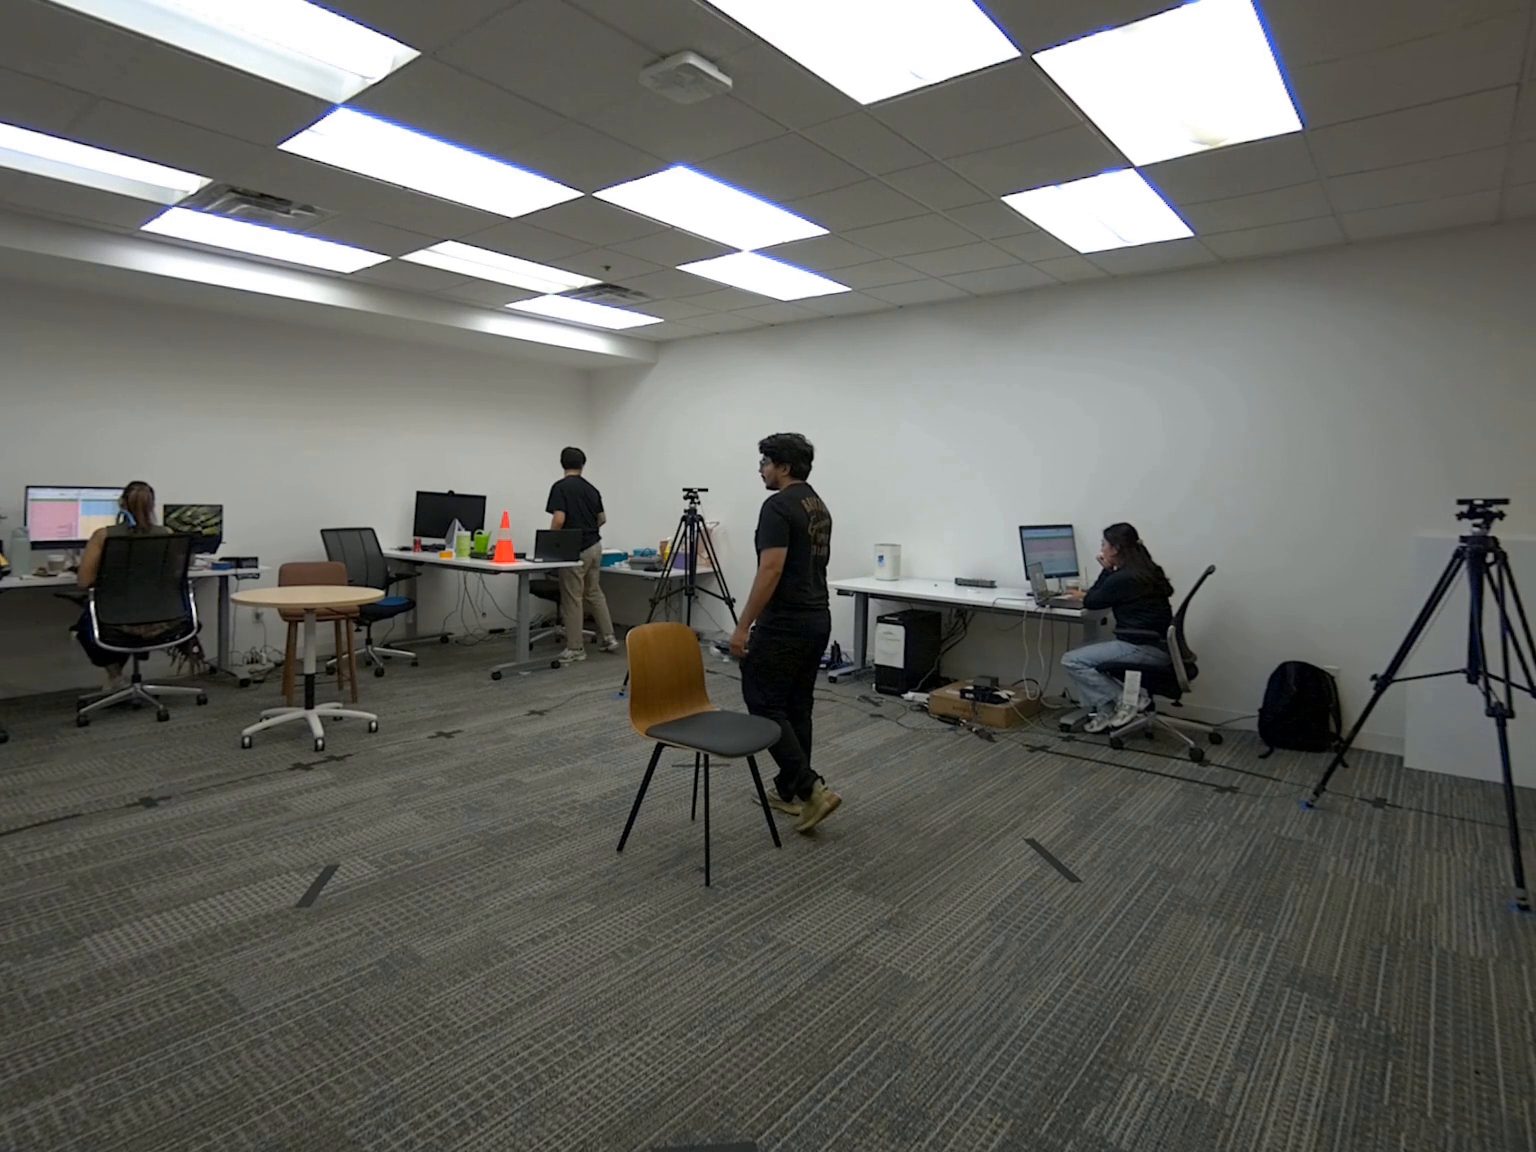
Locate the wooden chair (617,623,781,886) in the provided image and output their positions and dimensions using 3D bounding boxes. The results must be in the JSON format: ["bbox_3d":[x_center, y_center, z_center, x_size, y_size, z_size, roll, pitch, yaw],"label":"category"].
[{"bbox_3d":[-0.257,0.627,3.248,0.539,0.878,0.464,-2,0,38],"label":"wooden chair"}]
